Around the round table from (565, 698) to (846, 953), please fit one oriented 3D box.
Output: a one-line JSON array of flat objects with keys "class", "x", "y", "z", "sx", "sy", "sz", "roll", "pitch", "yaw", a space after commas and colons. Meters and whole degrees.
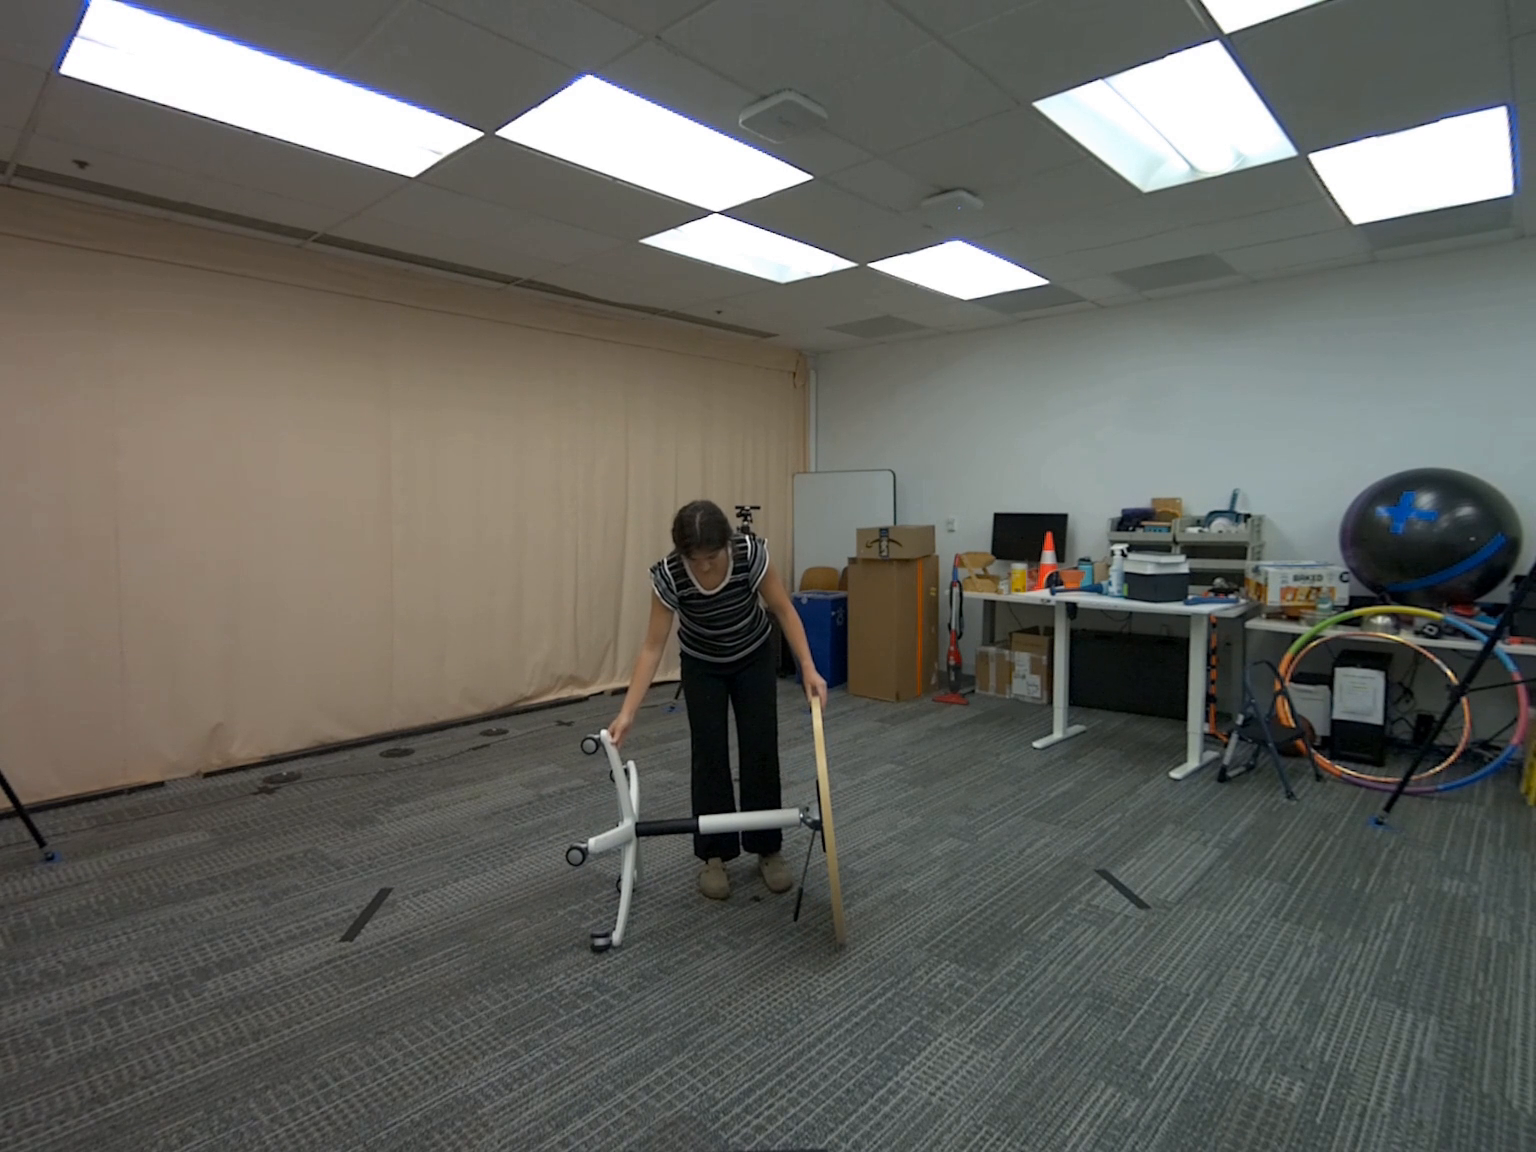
[{"class": "round table", "x": -0.186, "y": 0.832, "z": 2.786, "sx": 0.798, "sy": 0.762, "sz": 0.762, "roll": -6, "pitch": 3, "yaw": 4}]
